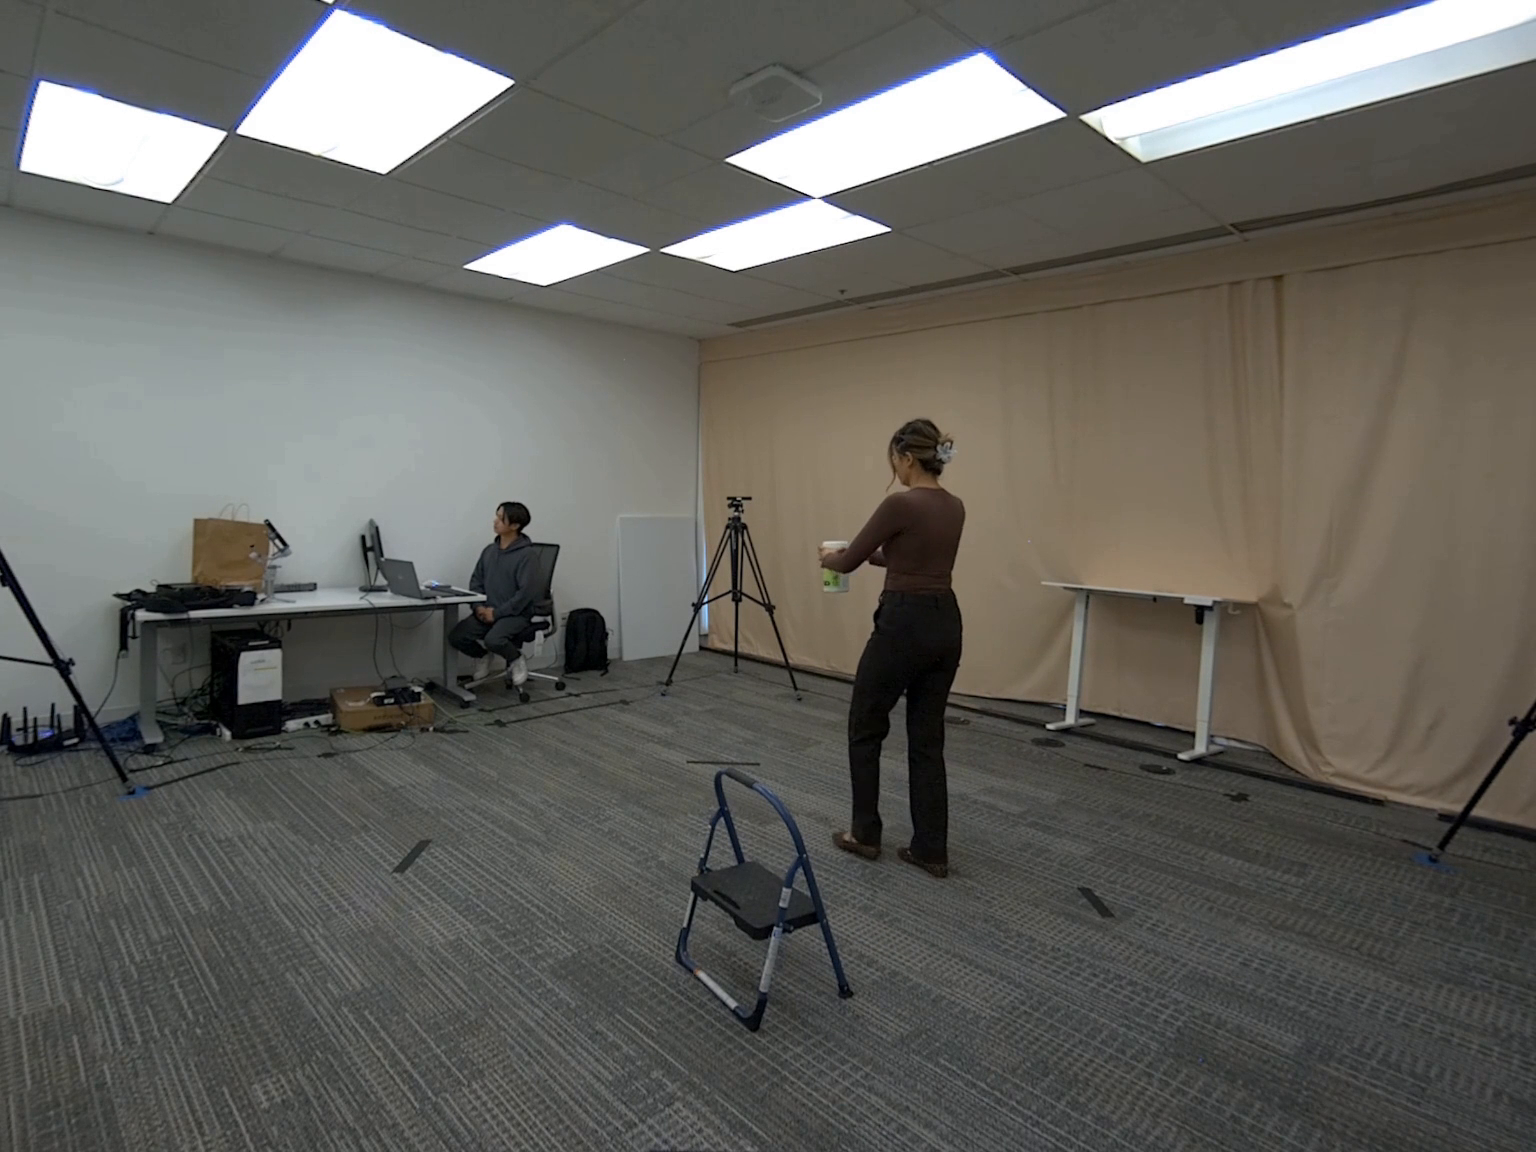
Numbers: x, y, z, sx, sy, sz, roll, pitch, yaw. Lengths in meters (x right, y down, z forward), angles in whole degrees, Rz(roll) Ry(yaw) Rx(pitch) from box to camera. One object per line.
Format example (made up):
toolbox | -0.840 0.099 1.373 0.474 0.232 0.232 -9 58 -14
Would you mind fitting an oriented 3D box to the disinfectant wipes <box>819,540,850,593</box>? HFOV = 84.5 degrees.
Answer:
disinfectant wipes | 0.276 -0.040 3.567 0.118 0.217 0.118 -3 4 -1
